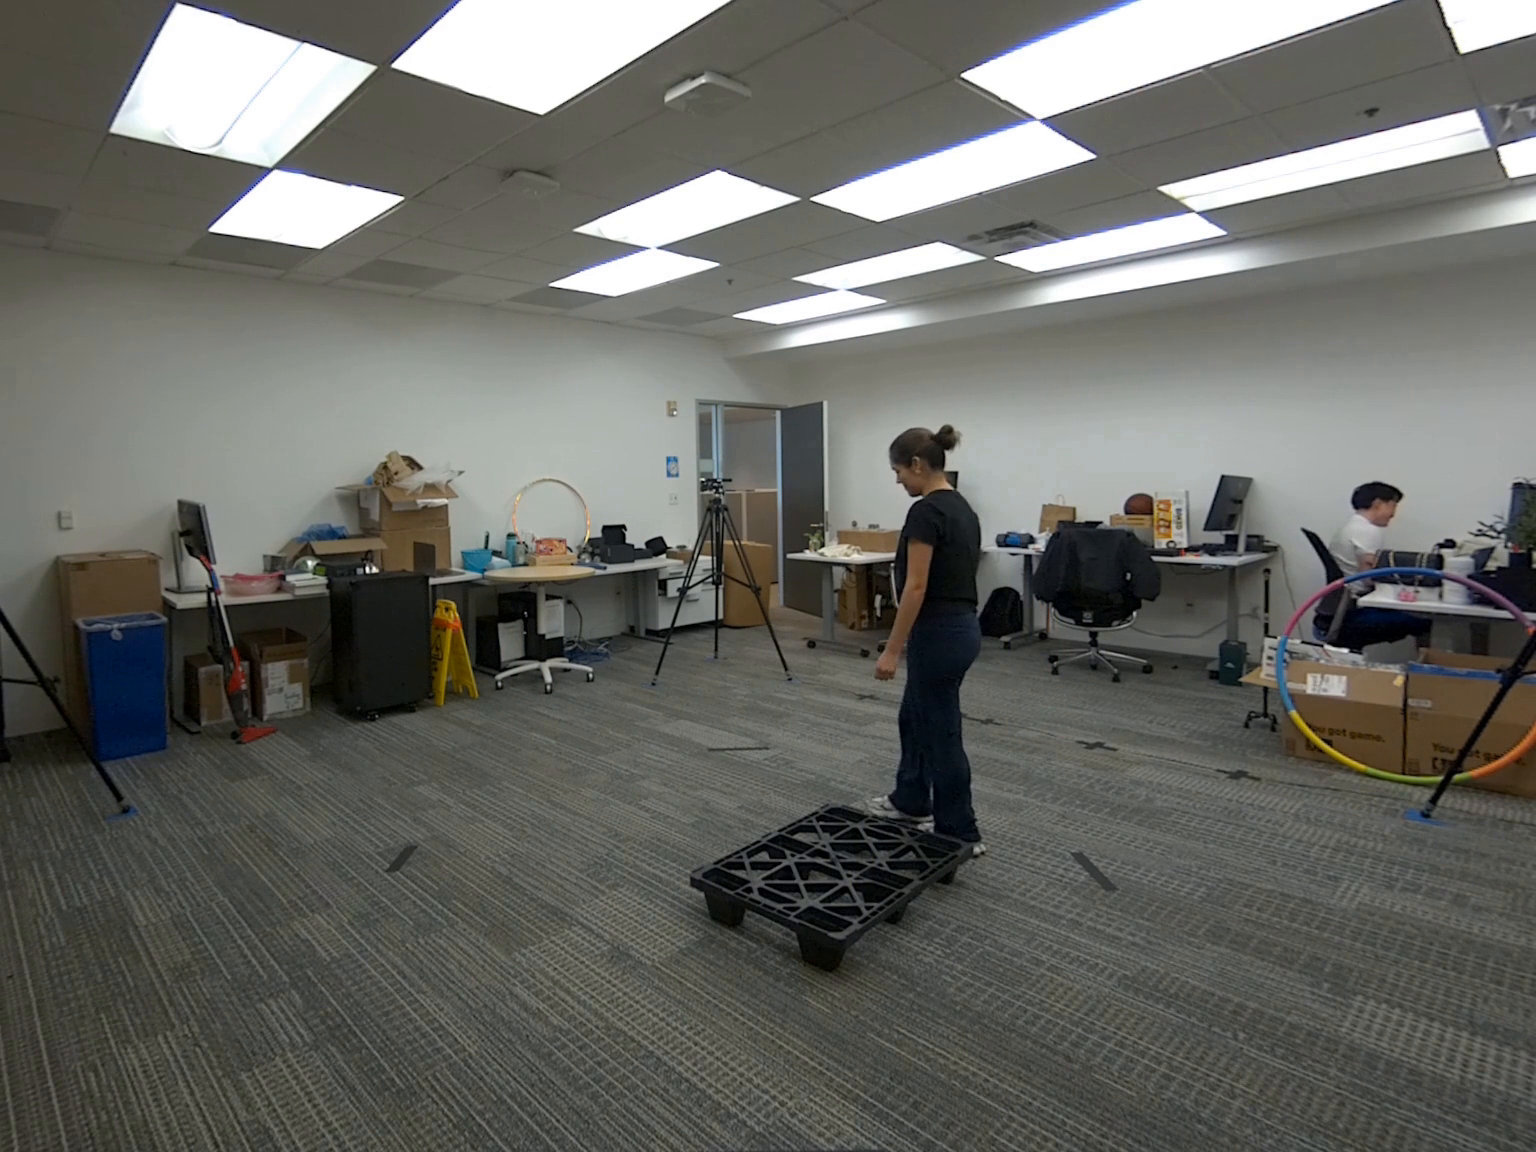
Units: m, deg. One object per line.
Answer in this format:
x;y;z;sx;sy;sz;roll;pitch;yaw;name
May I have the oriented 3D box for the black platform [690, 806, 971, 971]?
0.231;1.005;2.847;0.624;0.142;0.785;5;9;40;black platform
